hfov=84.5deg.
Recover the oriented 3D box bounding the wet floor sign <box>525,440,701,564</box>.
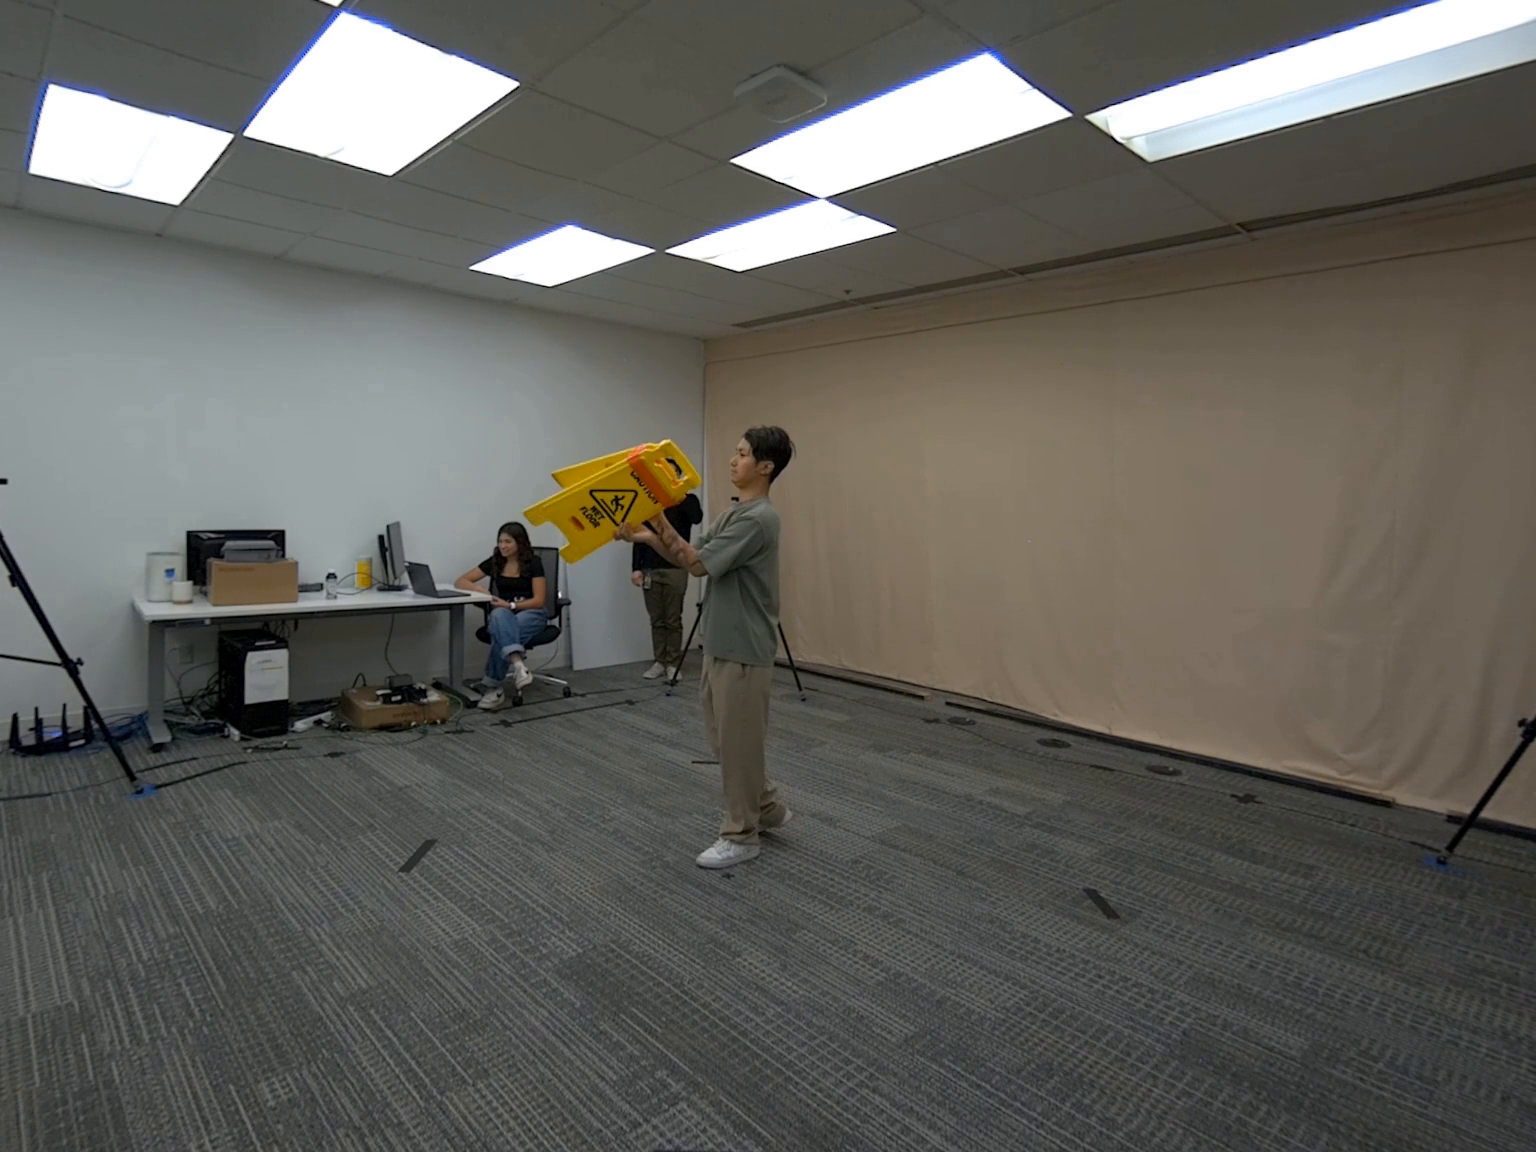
[{"bbox_3d":[-0.541,-0.305,3.064,0.654,0.275,0.293,-20,31,32],"label":"wet floor sign"}]
